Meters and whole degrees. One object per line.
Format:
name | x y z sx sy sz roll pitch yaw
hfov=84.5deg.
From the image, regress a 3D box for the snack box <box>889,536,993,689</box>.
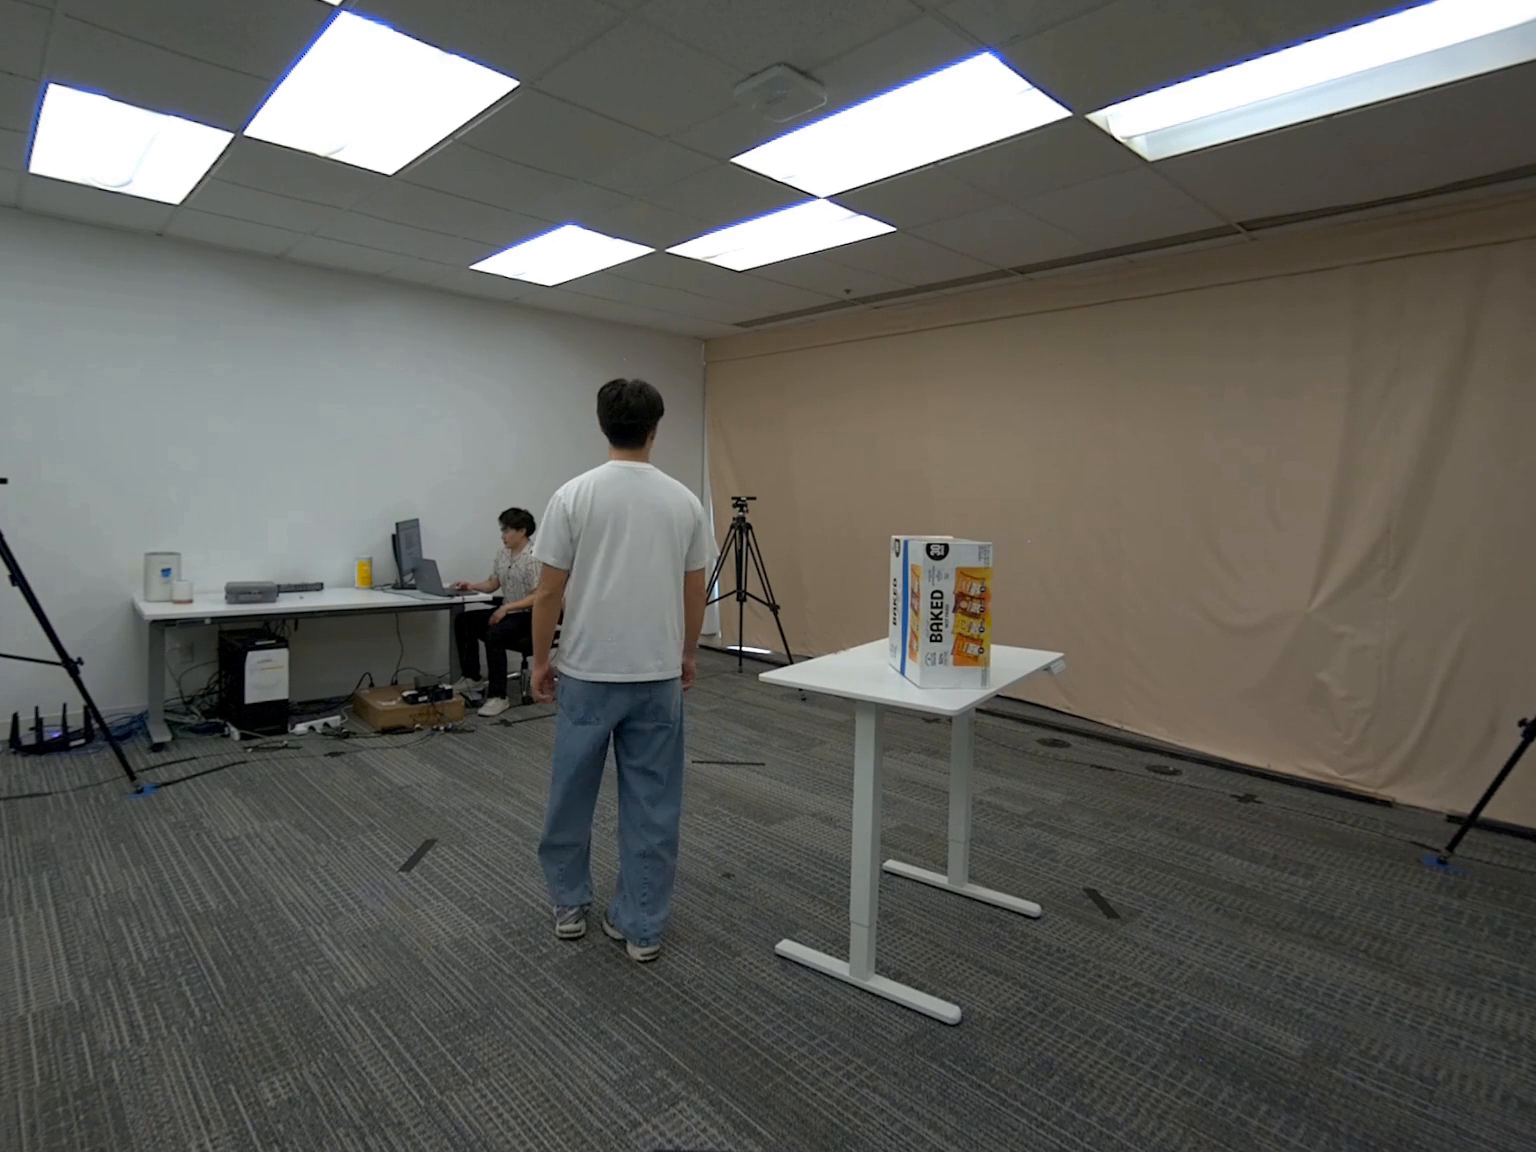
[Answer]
snack box | 0.495 0.091 2.485 0.205 0.404 0.342 1 3 -5
